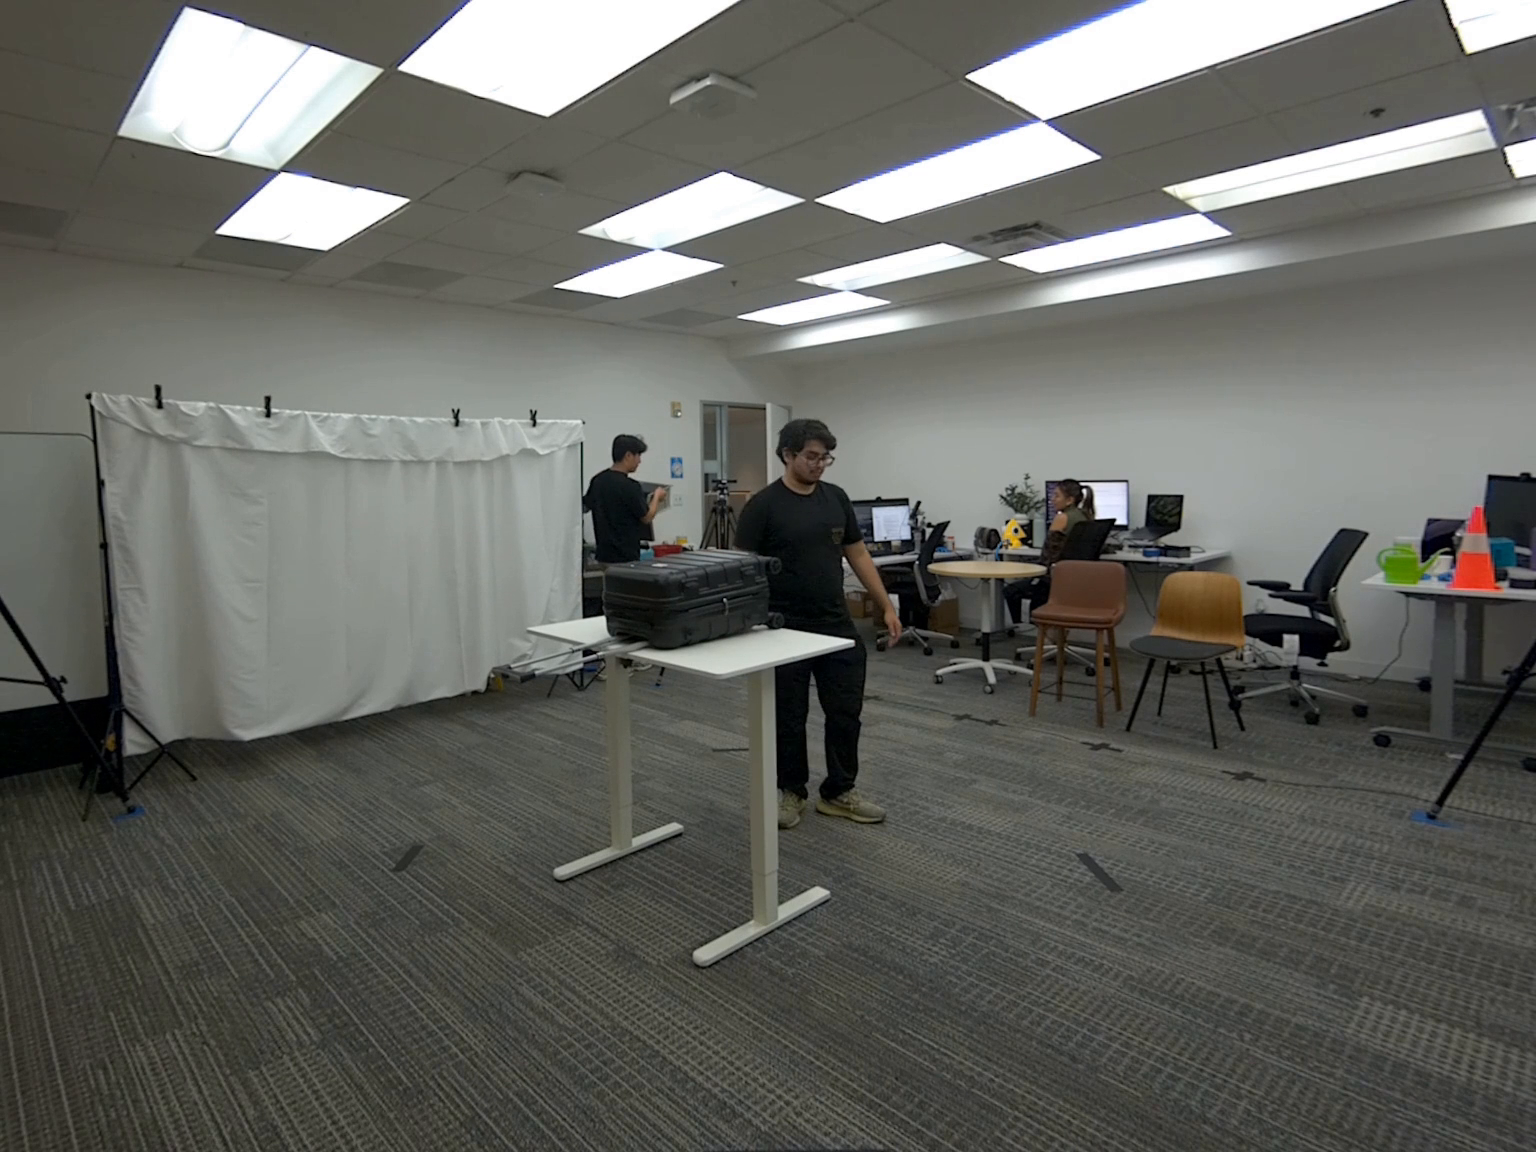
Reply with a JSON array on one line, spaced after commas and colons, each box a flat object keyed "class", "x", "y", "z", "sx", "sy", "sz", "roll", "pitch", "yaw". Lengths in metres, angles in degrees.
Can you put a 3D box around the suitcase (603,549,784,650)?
[{"class": "suitcase", "x": -0.402, "y": 0.096, "z": 2.726, "sx": 0.954, "sy": 0.255, "sz": 0.396, "roll": -10, "pitch": 12, "yaw": -44}]
